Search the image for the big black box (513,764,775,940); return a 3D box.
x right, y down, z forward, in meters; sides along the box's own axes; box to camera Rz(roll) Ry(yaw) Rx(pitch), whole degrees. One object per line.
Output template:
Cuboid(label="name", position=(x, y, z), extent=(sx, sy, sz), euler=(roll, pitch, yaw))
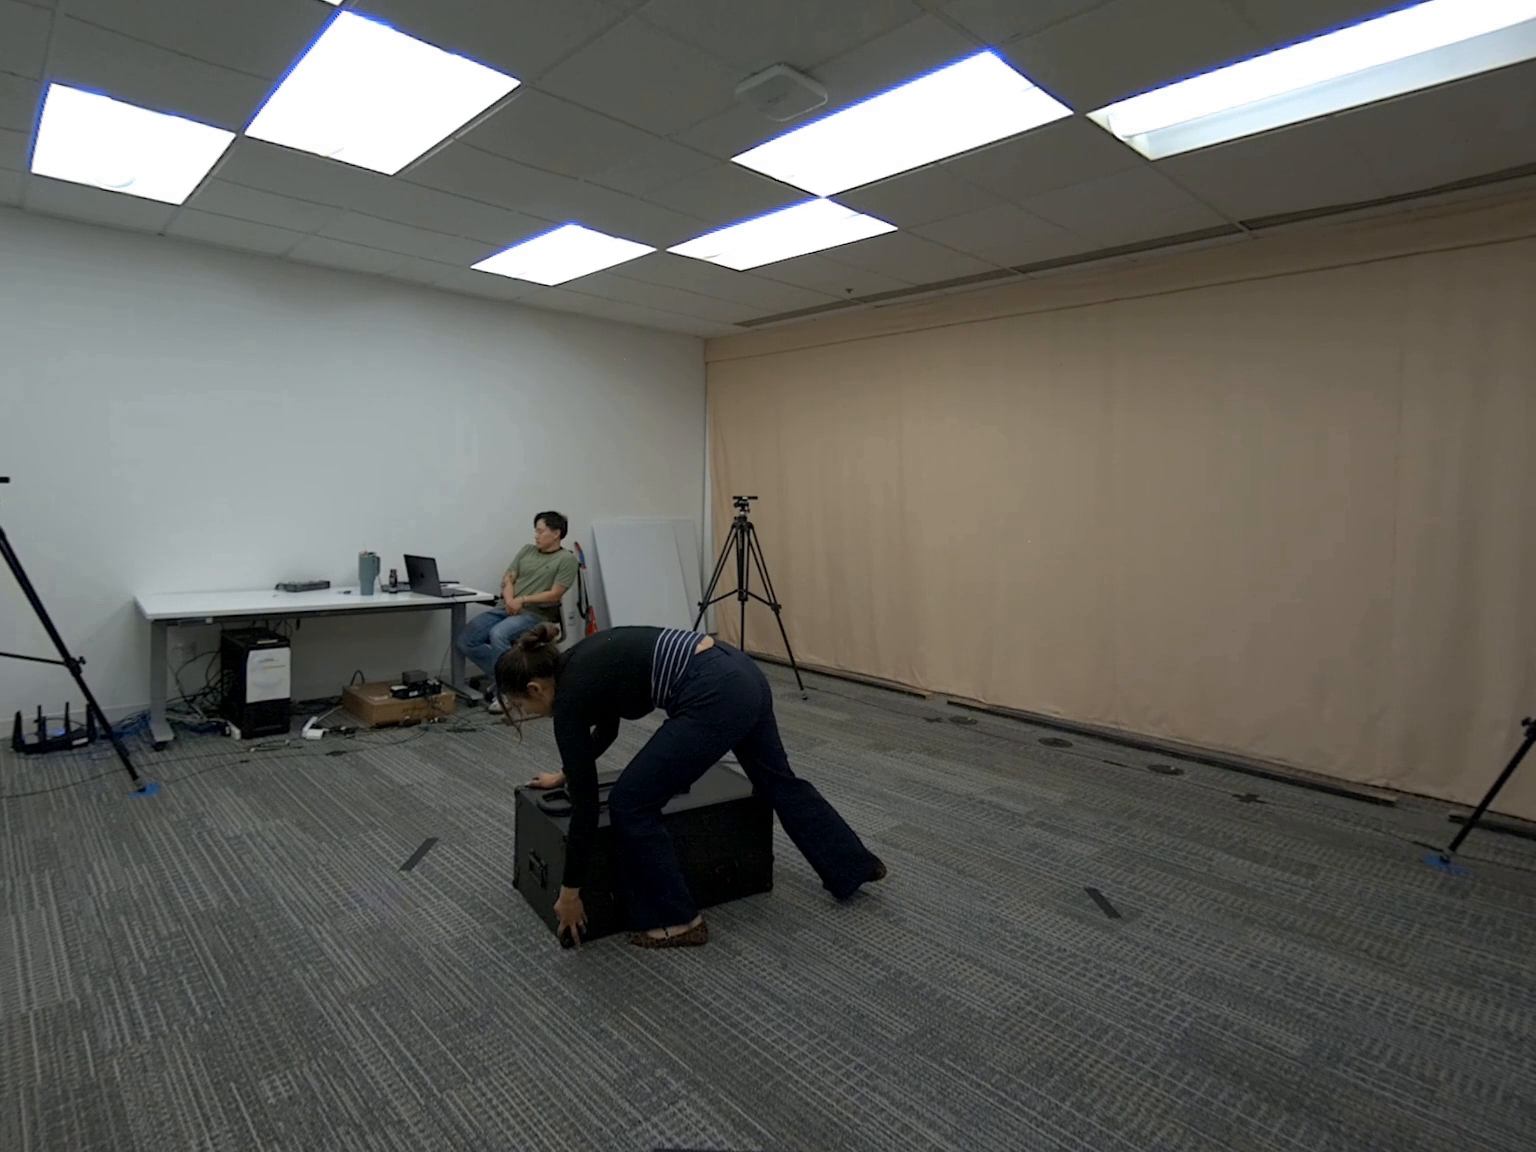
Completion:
Cuboid(label="big black box", position=(-0.465, 0.941, 2.955), extent=(0.843, 0.395, 0.534), euler=(-2, 7, -33))
